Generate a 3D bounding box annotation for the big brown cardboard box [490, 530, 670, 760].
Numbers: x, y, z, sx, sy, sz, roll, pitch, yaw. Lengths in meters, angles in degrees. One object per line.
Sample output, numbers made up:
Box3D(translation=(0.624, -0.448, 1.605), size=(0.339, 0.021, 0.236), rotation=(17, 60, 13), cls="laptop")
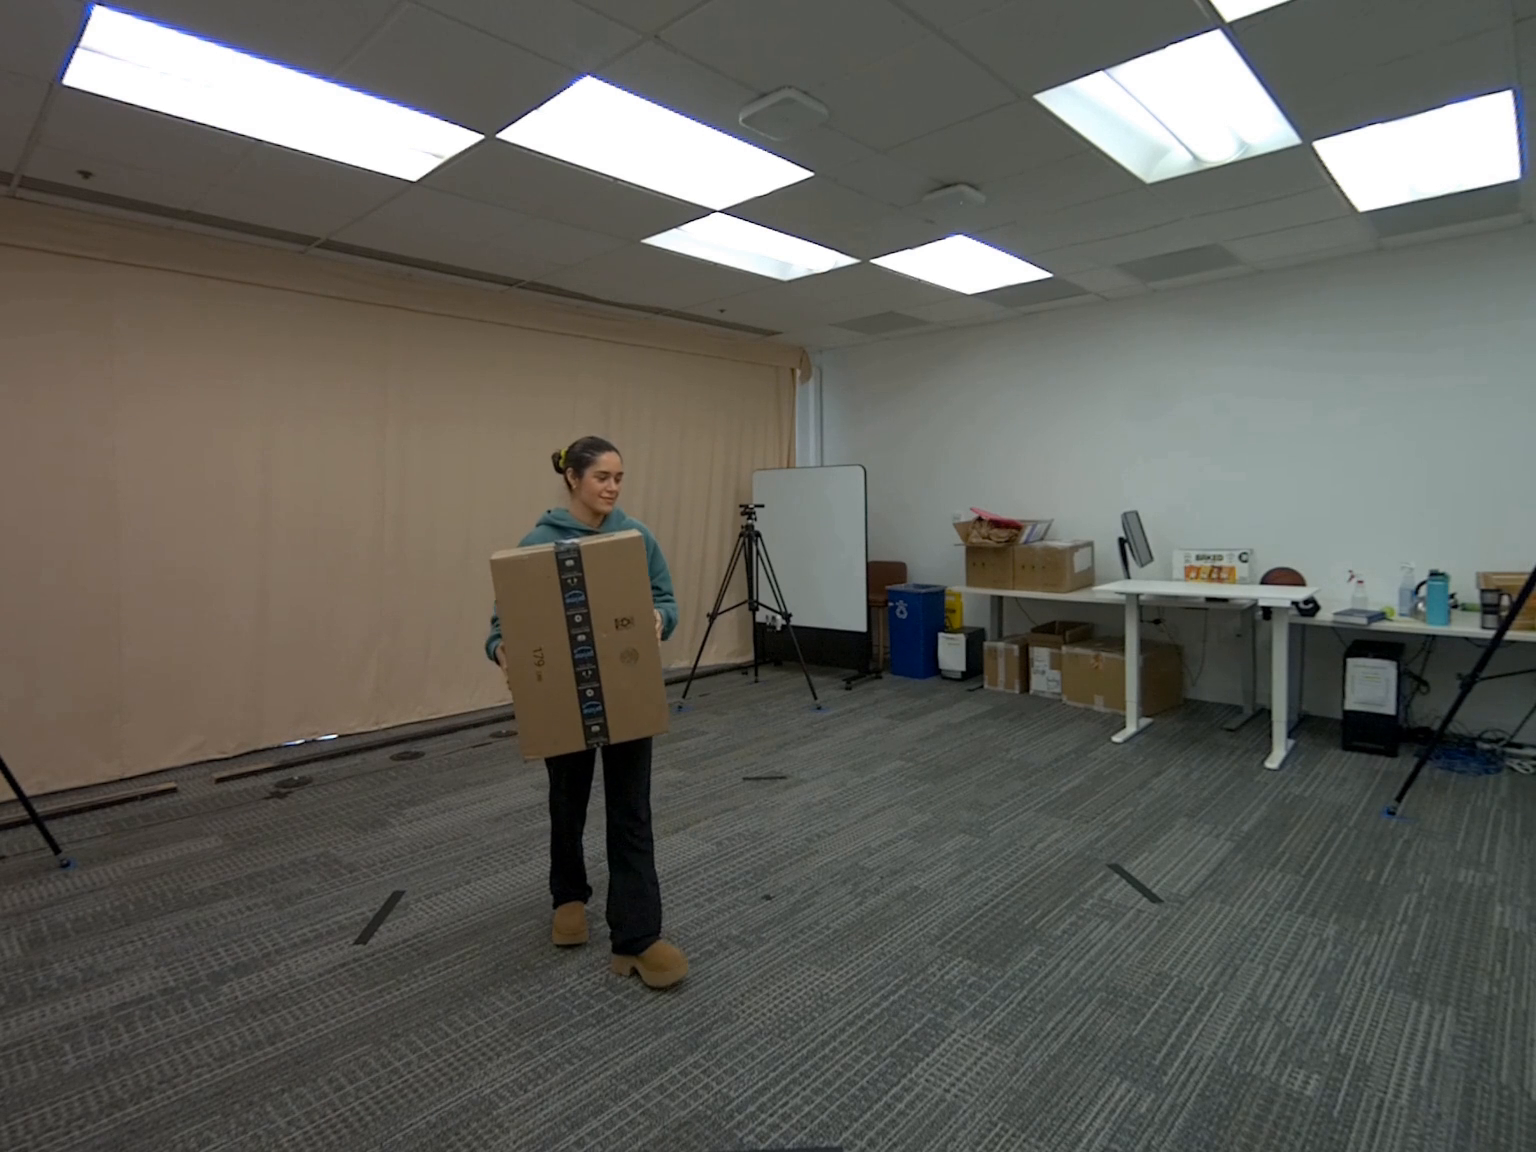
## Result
Box3D(translation=(-0.532, 0.180, 2.395), size=(0.413, 0.586, 0.237), rotation=(-7, 7, -11), cls="big brown cardboard box")
